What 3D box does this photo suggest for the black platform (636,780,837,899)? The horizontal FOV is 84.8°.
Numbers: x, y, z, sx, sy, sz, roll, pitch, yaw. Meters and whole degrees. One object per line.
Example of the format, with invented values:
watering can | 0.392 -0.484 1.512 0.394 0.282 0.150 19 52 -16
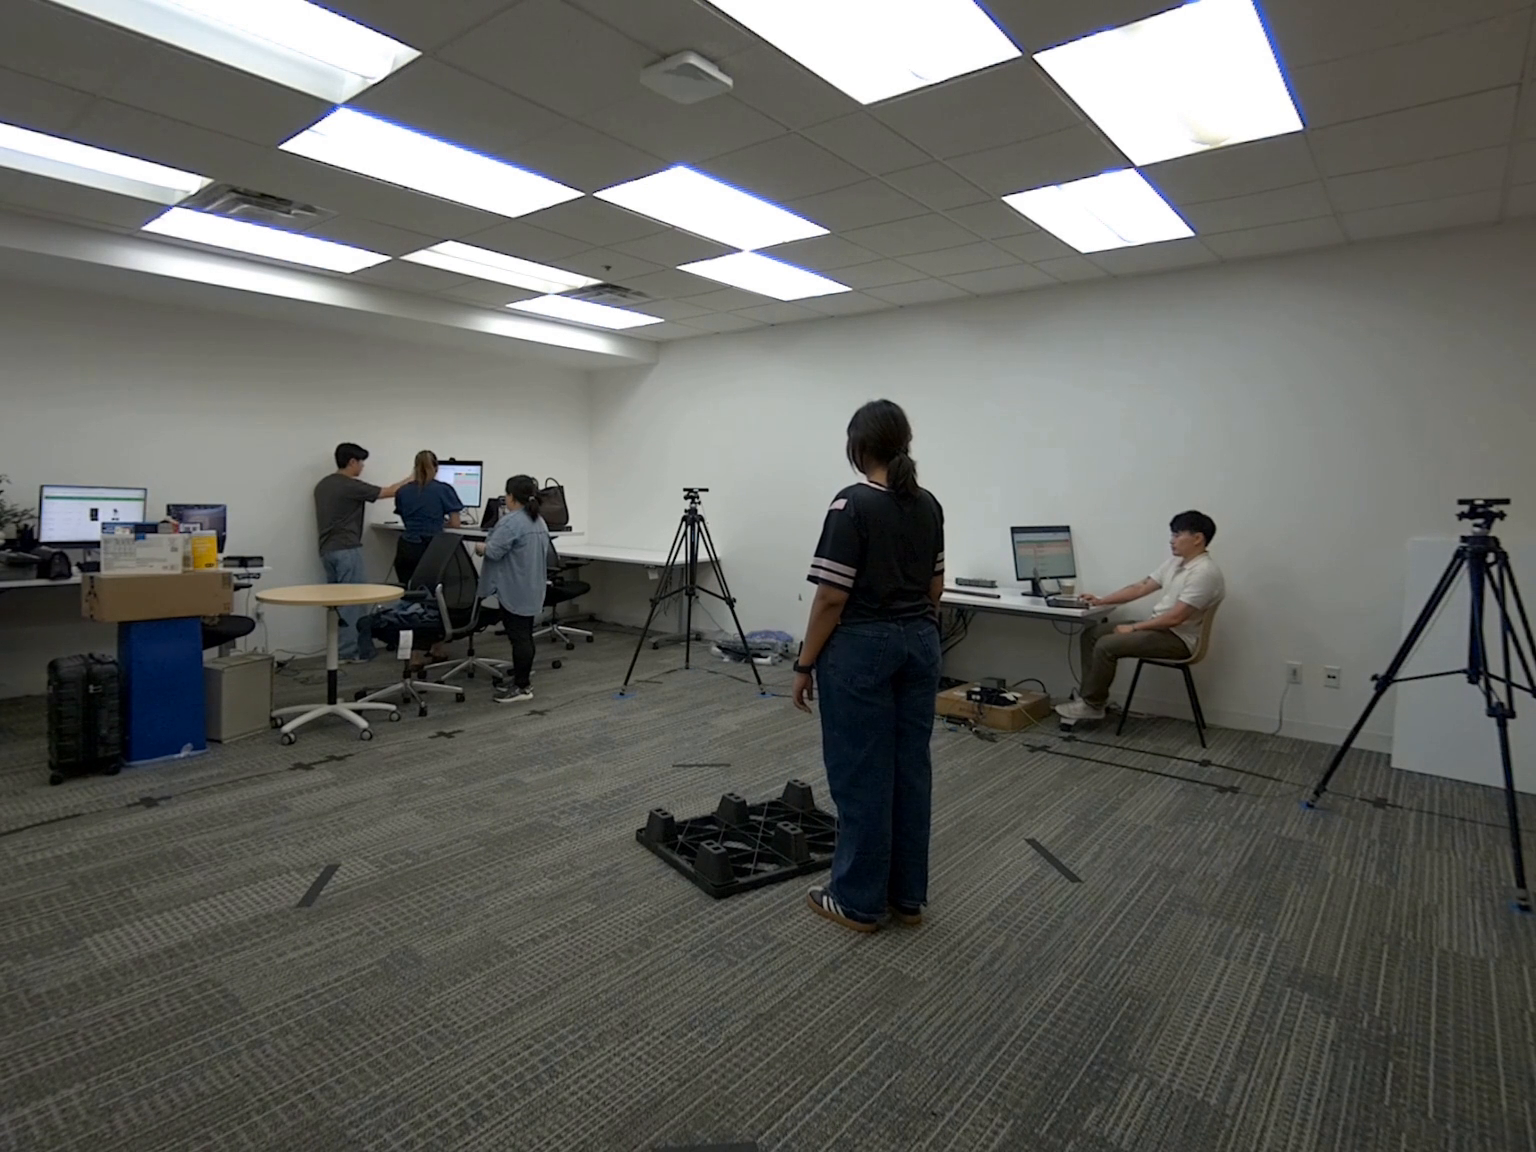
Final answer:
black platform | -0.043 0.986 3.324 0.782 0.143 0.625 -3 6 -35
